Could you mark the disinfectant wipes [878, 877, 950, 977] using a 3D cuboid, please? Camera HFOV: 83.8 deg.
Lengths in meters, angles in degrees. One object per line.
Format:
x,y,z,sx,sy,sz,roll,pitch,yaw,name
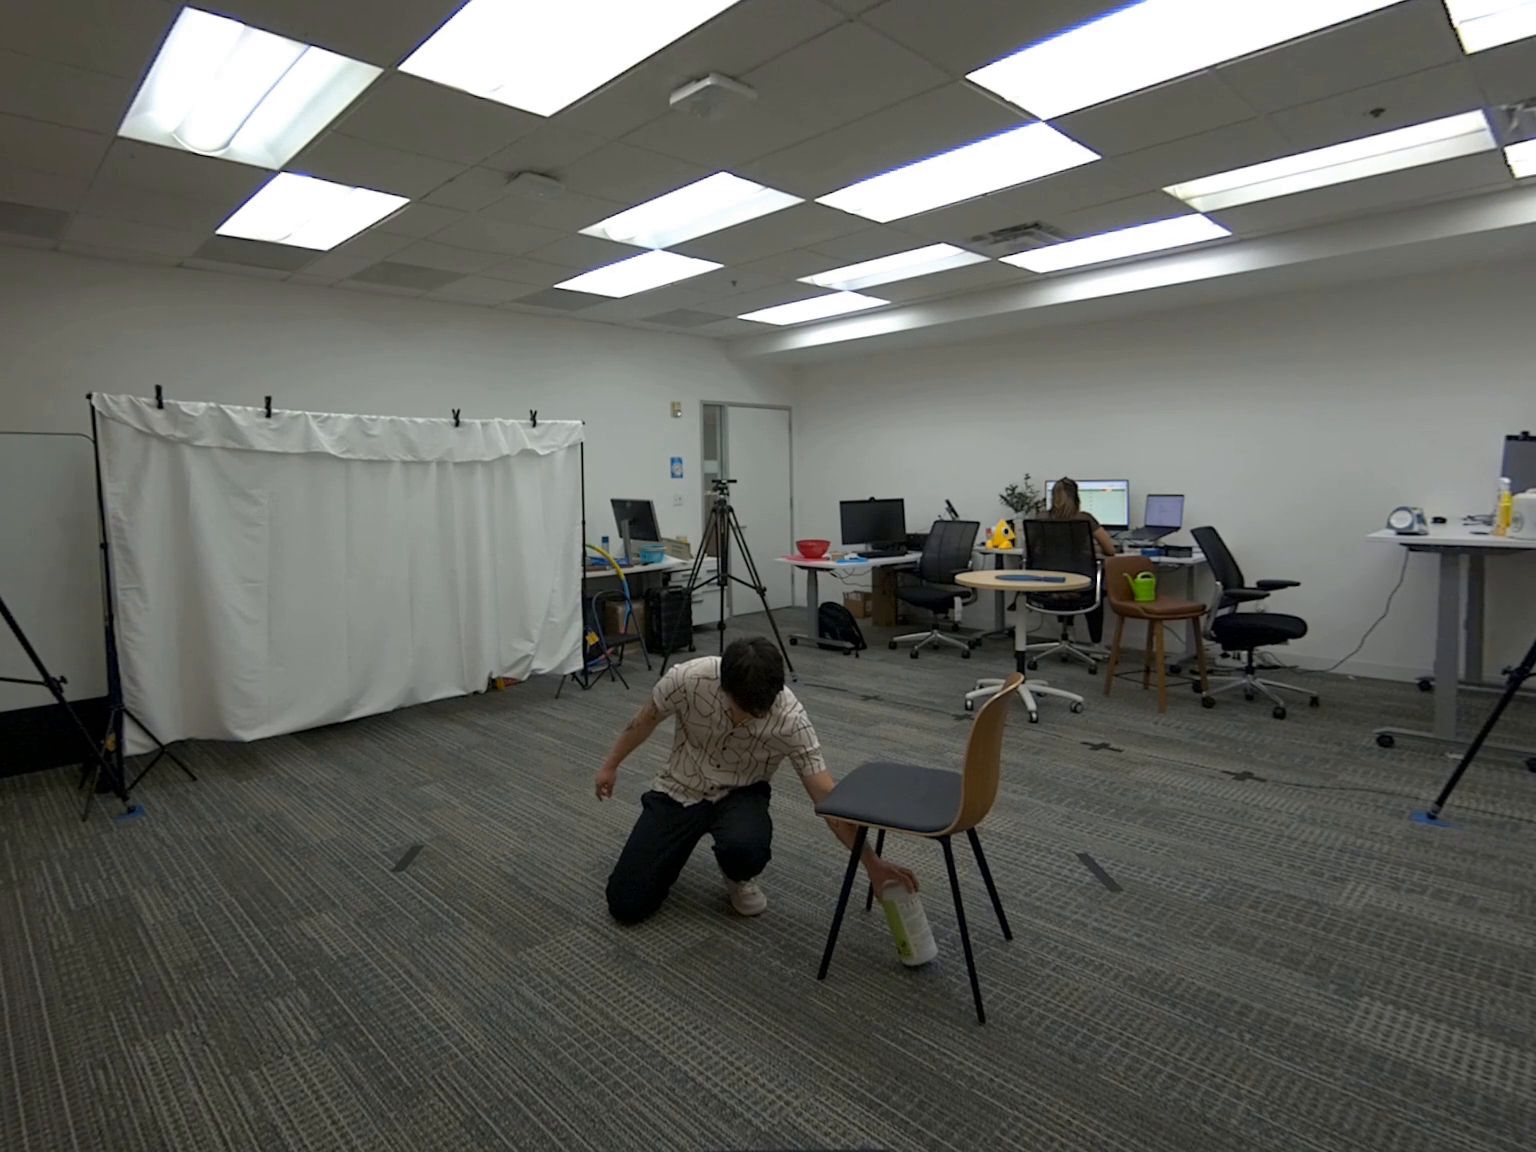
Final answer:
0.411,0.997,2.452,0.117,0.220,0.116,-16,-10,-4,disinfectant wipes
